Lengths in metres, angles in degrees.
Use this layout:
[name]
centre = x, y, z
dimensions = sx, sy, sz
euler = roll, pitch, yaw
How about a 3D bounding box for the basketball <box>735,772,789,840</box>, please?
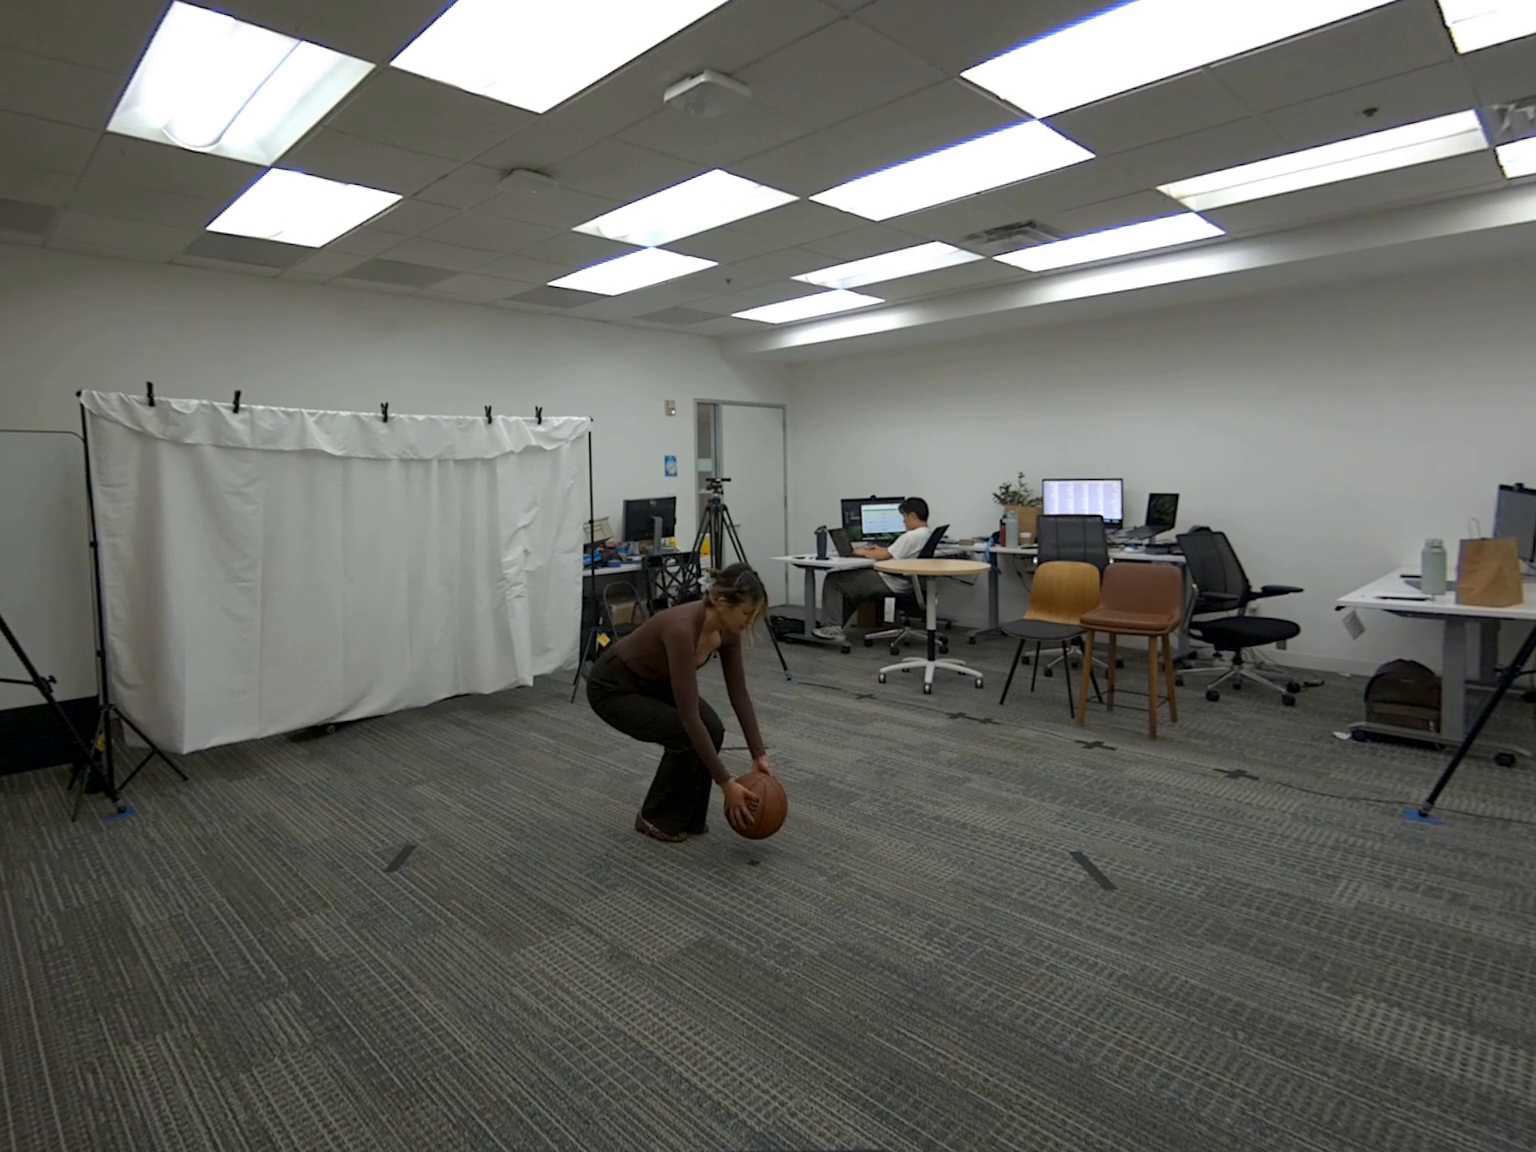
[basketball]
centre = -0.043, 0.842, 3.177
dimensions = 0.236, 0.235, 0.237
euler = -1, 5, -2
